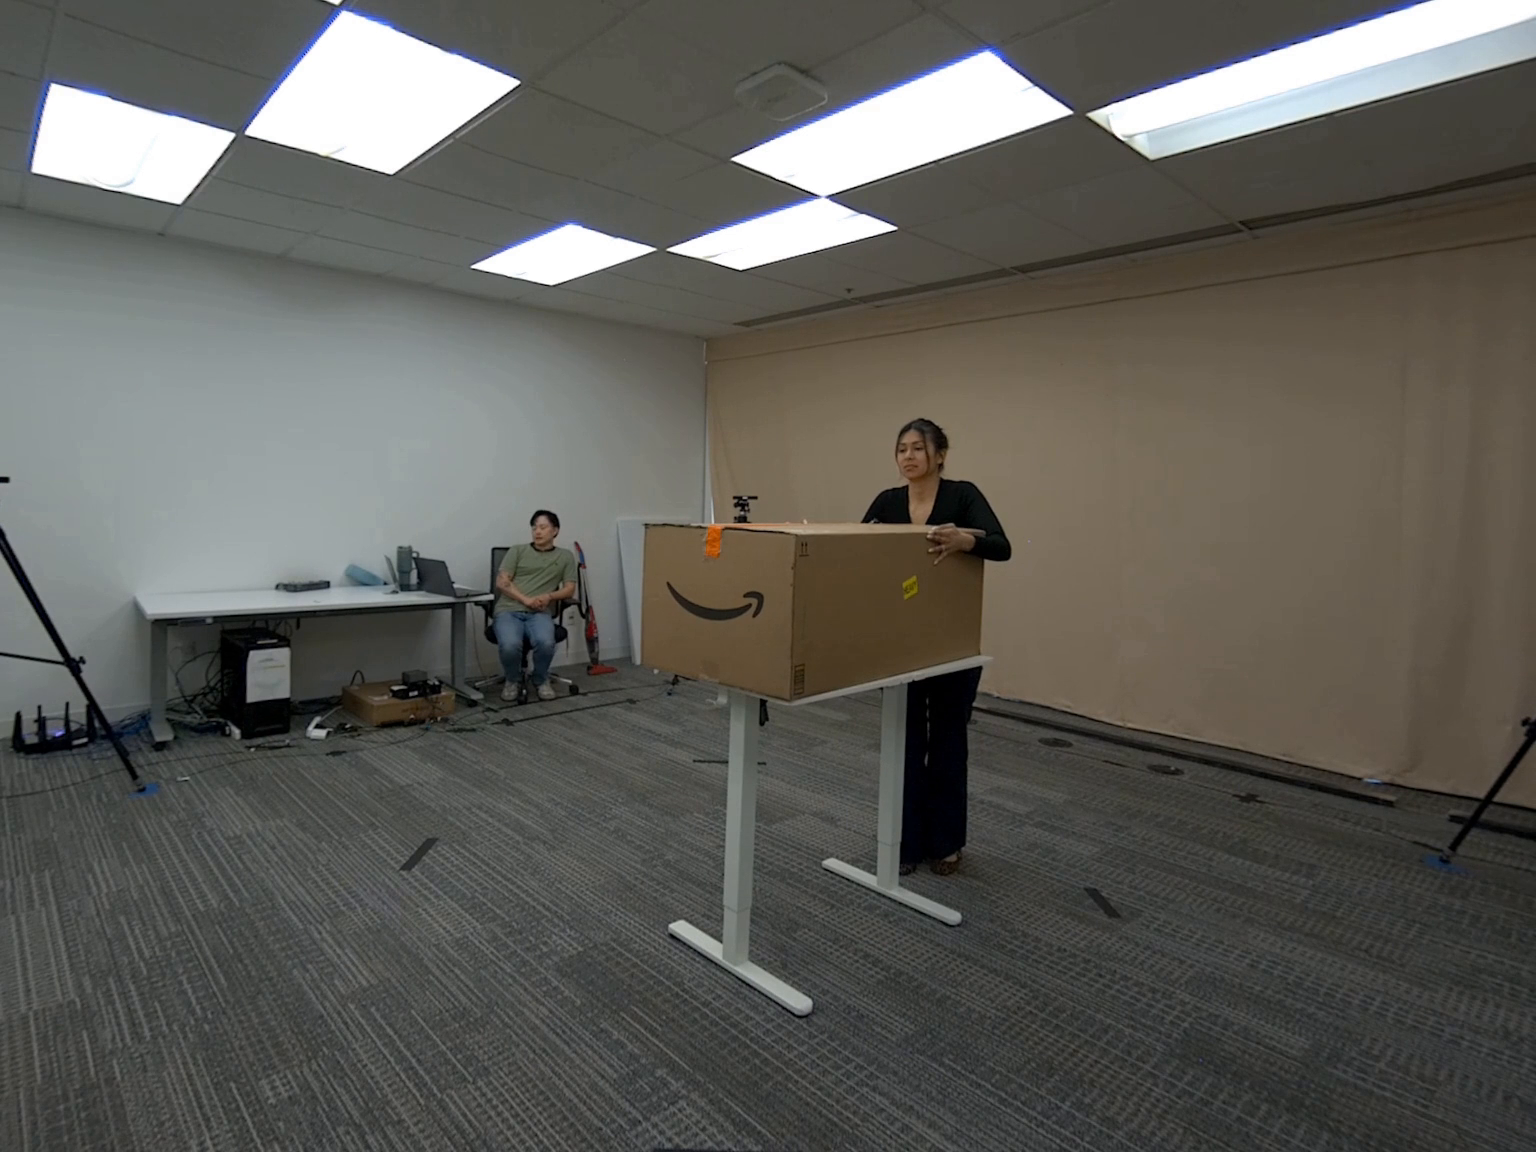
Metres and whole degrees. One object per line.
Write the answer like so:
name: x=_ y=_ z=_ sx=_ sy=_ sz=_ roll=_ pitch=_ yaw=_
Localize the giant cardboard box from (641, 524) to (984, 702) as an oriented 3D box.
giant cardboard box: x=0.169 y=0.062 z=2.662 sx=0.592 sy=0.425 sz=1.002 roll=6 pitch=6 yaw=42
